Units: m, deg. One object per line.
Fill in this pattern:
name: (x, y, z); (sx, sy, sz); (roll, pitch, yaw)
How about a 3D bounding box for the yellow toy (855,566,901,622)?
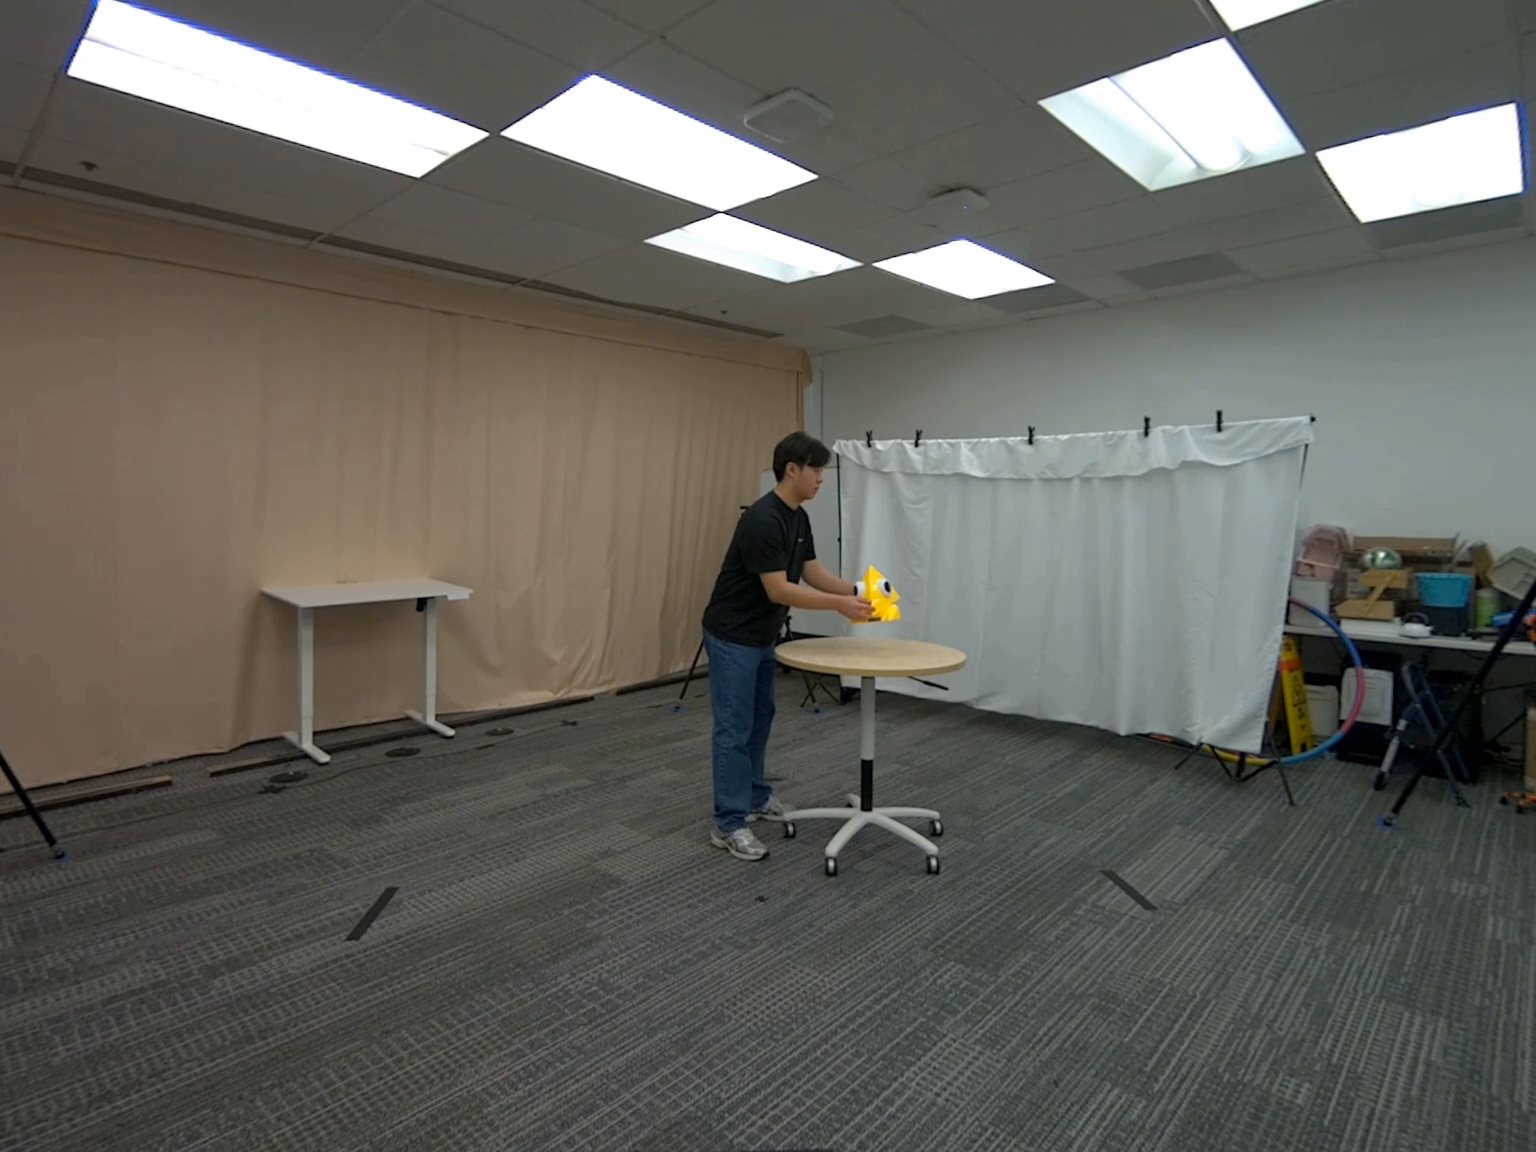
yellow toy: (0.433, 0.079, 3.424); (0.208, 0.231, 0.190); (-6, -2, 15)
